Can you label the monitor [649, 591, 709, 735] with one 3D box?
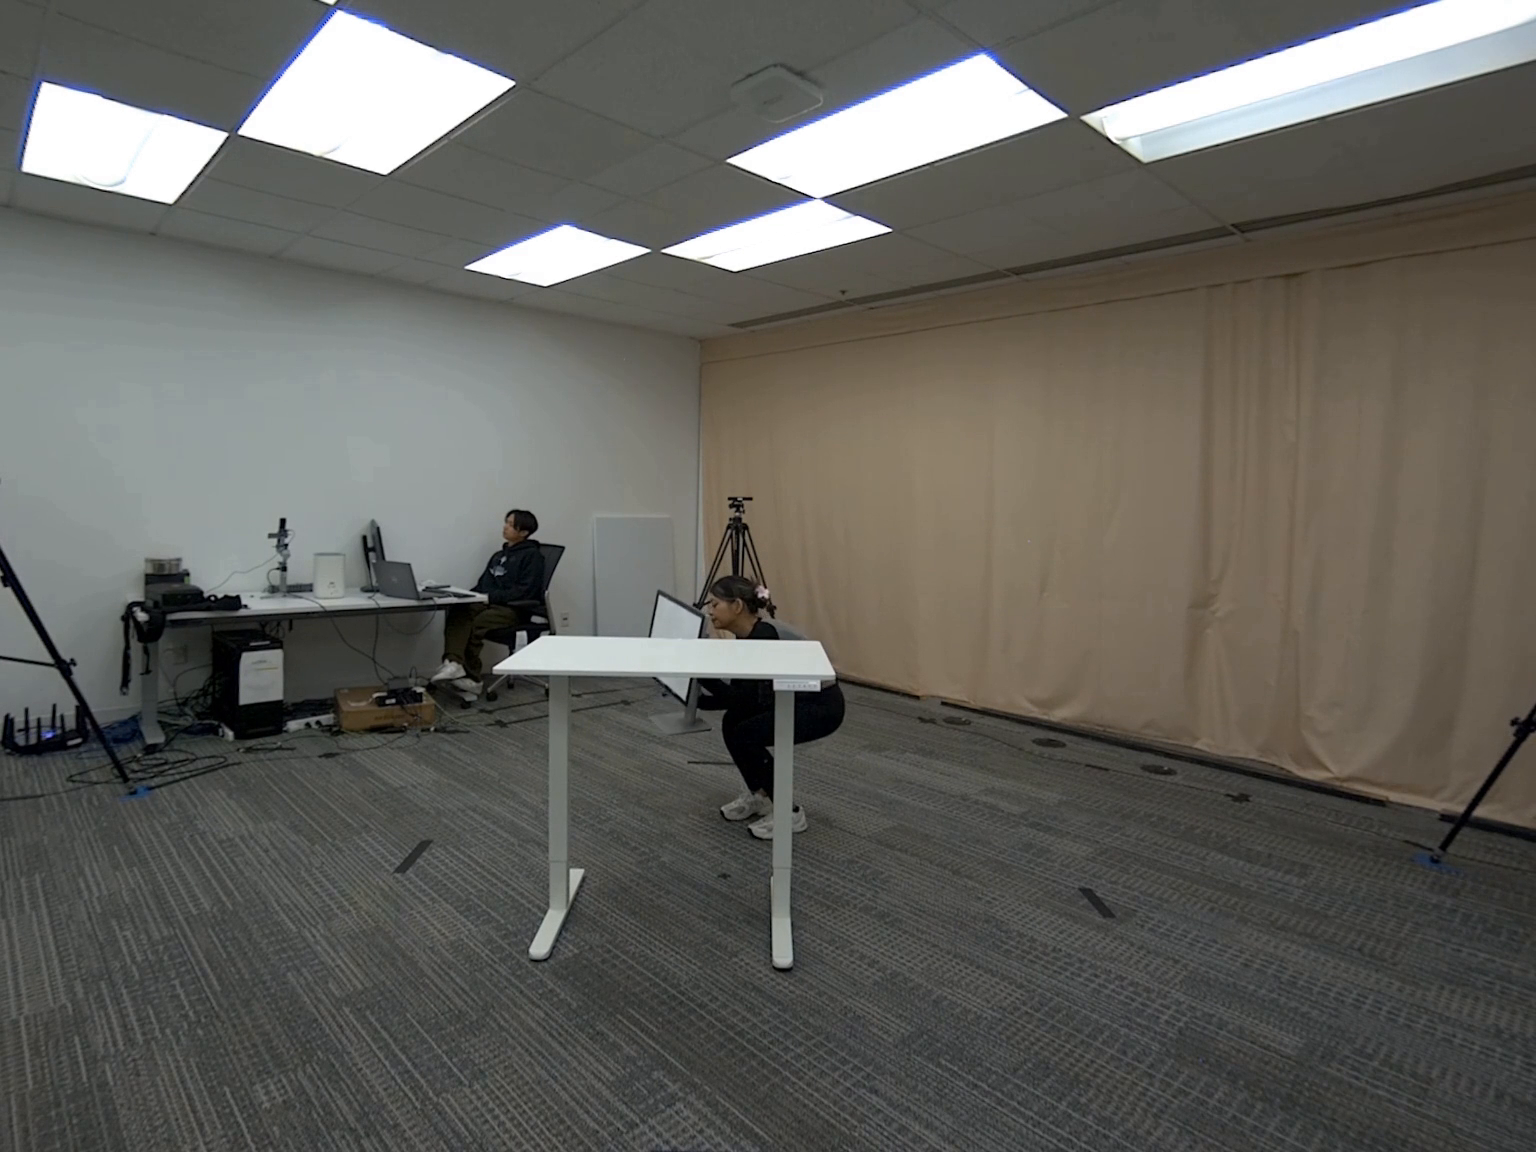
[{"bbox_3d":[-0.372,0.364,3.513,0.184,0.519,0.552,-4,9,-27],"label":"monitor"}]
